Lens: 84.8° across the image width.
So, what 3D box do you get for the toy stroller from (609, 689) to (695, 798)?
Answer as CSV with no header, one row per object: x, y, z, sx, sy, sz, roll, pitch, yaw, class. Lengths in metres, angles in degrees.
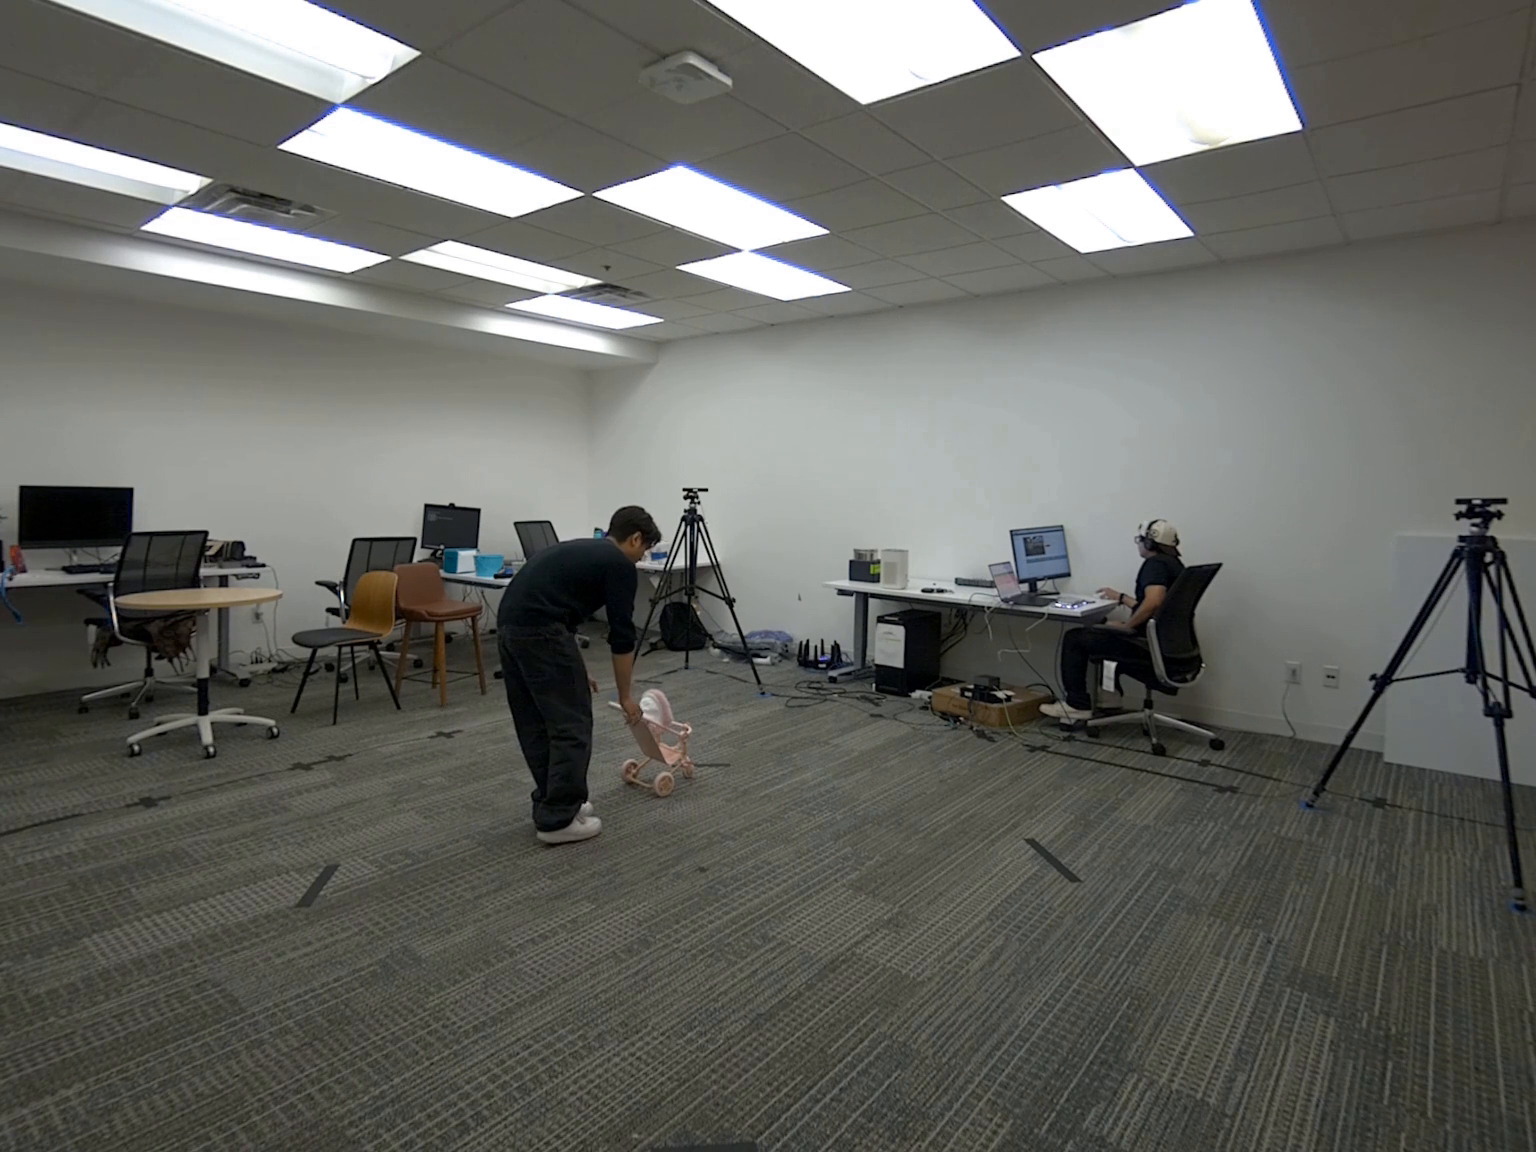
-0.528,0.760,3.967,0.335,0.526,0.291,-24,19,-37,toy stroller
